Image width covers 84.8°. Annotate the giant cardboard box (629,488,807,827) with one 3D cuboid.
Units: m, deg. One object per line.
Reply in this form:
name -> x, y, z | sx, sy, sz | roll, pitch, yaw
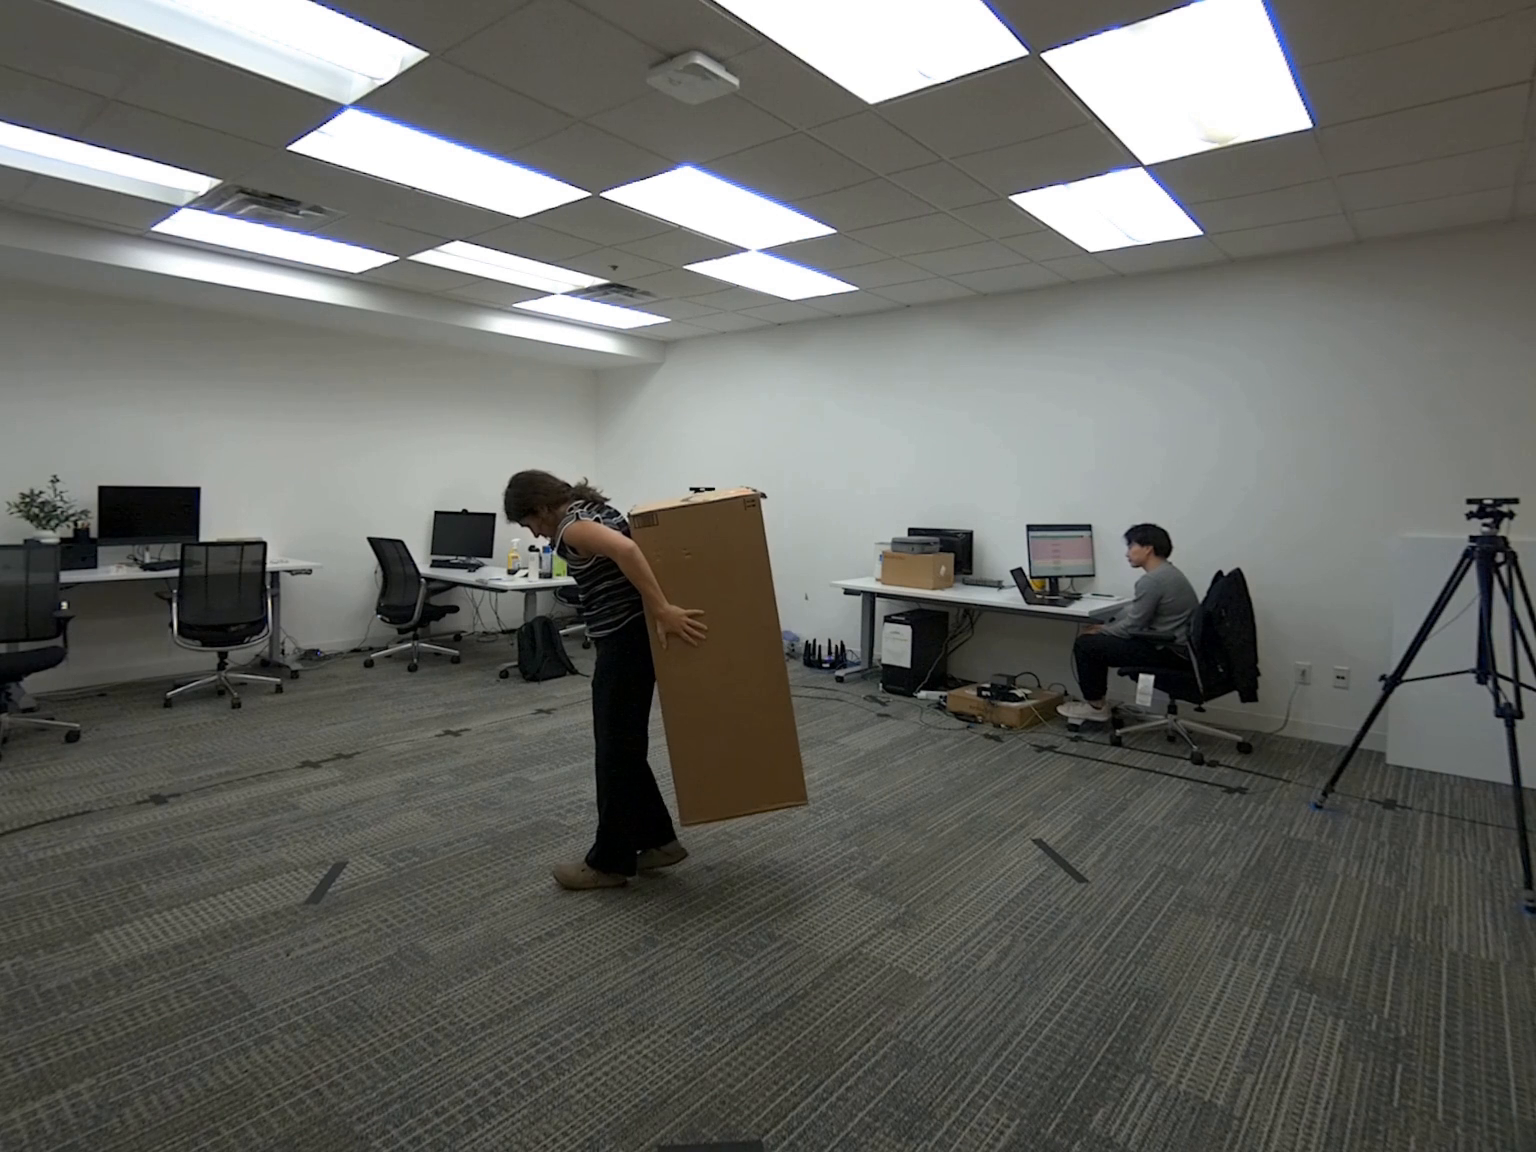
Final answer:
giant cardboard box -> -0.195, 0.234, 2.966 | 0.425, 1.020, 0.583 | -9, 6, -4
